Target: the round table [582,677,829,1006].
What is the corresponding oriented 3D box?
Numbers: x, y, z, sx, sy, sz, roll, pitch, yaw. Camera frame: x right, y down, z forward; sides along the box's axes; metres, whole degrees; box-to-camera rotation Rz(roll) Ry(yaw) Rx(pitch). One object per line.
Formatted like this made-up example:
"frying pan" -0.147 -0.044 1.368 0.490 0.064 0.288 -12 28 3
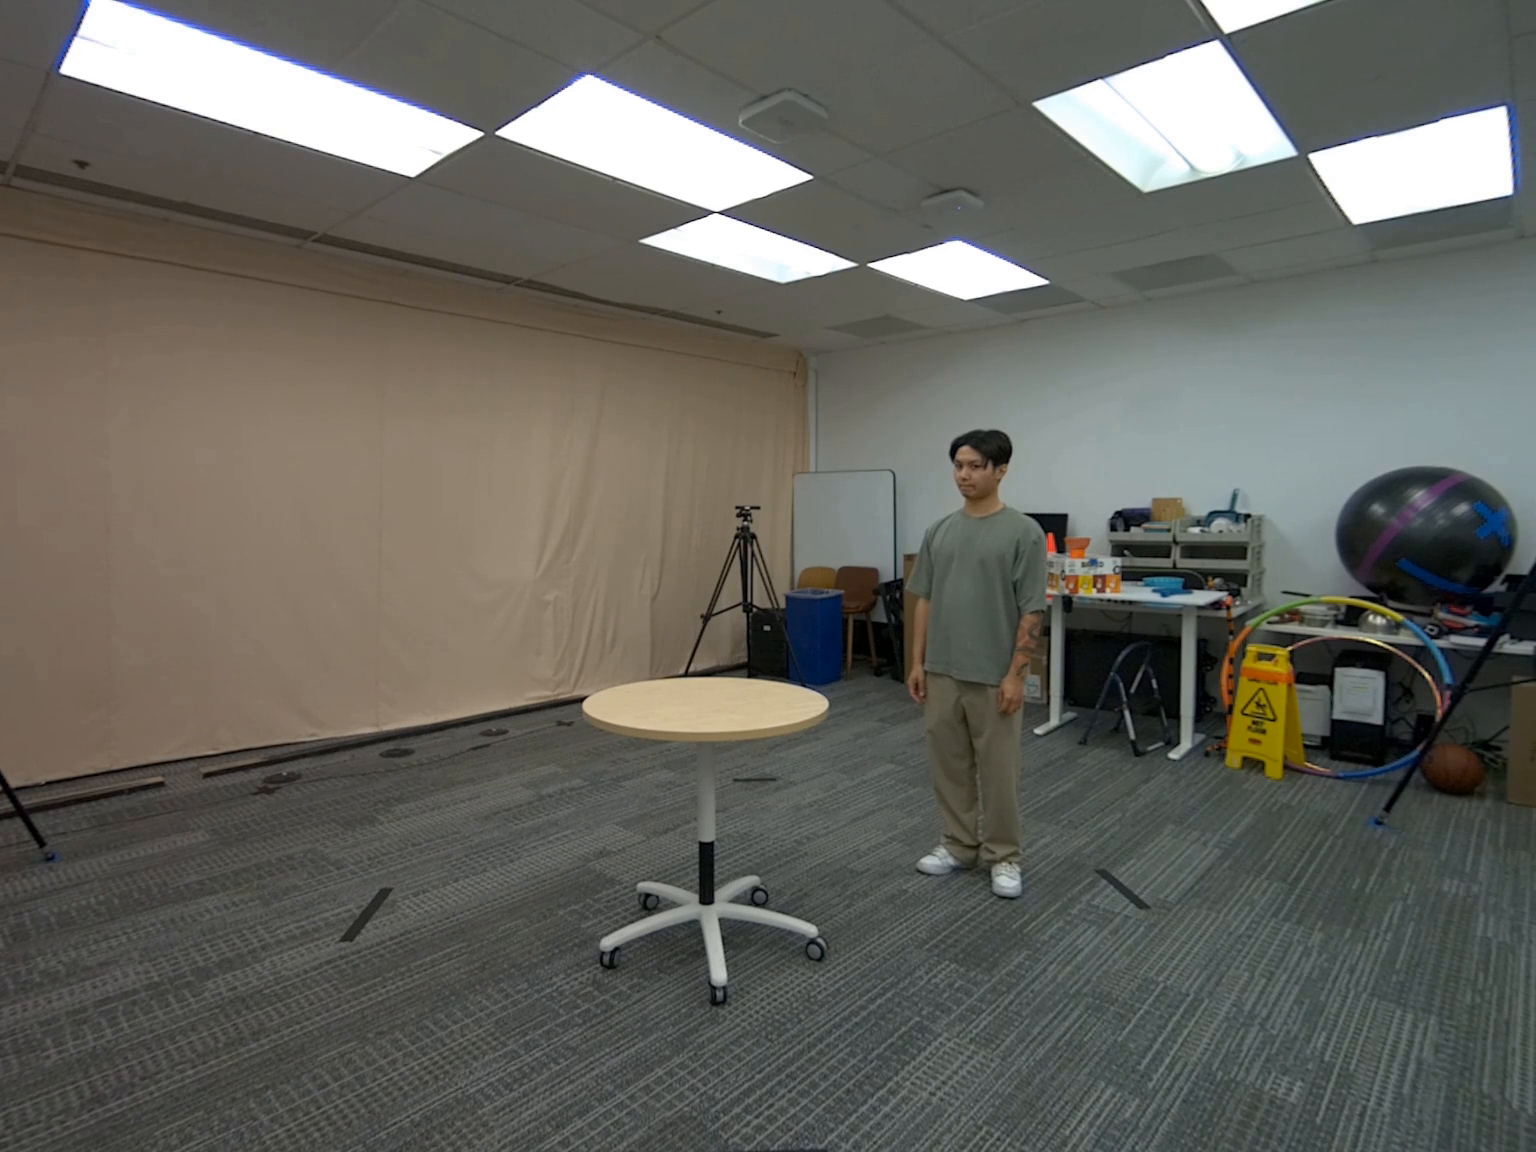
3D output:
"round table" -0.190 0.787 2.645 0.763 0.792 0.766 0 3 -2
